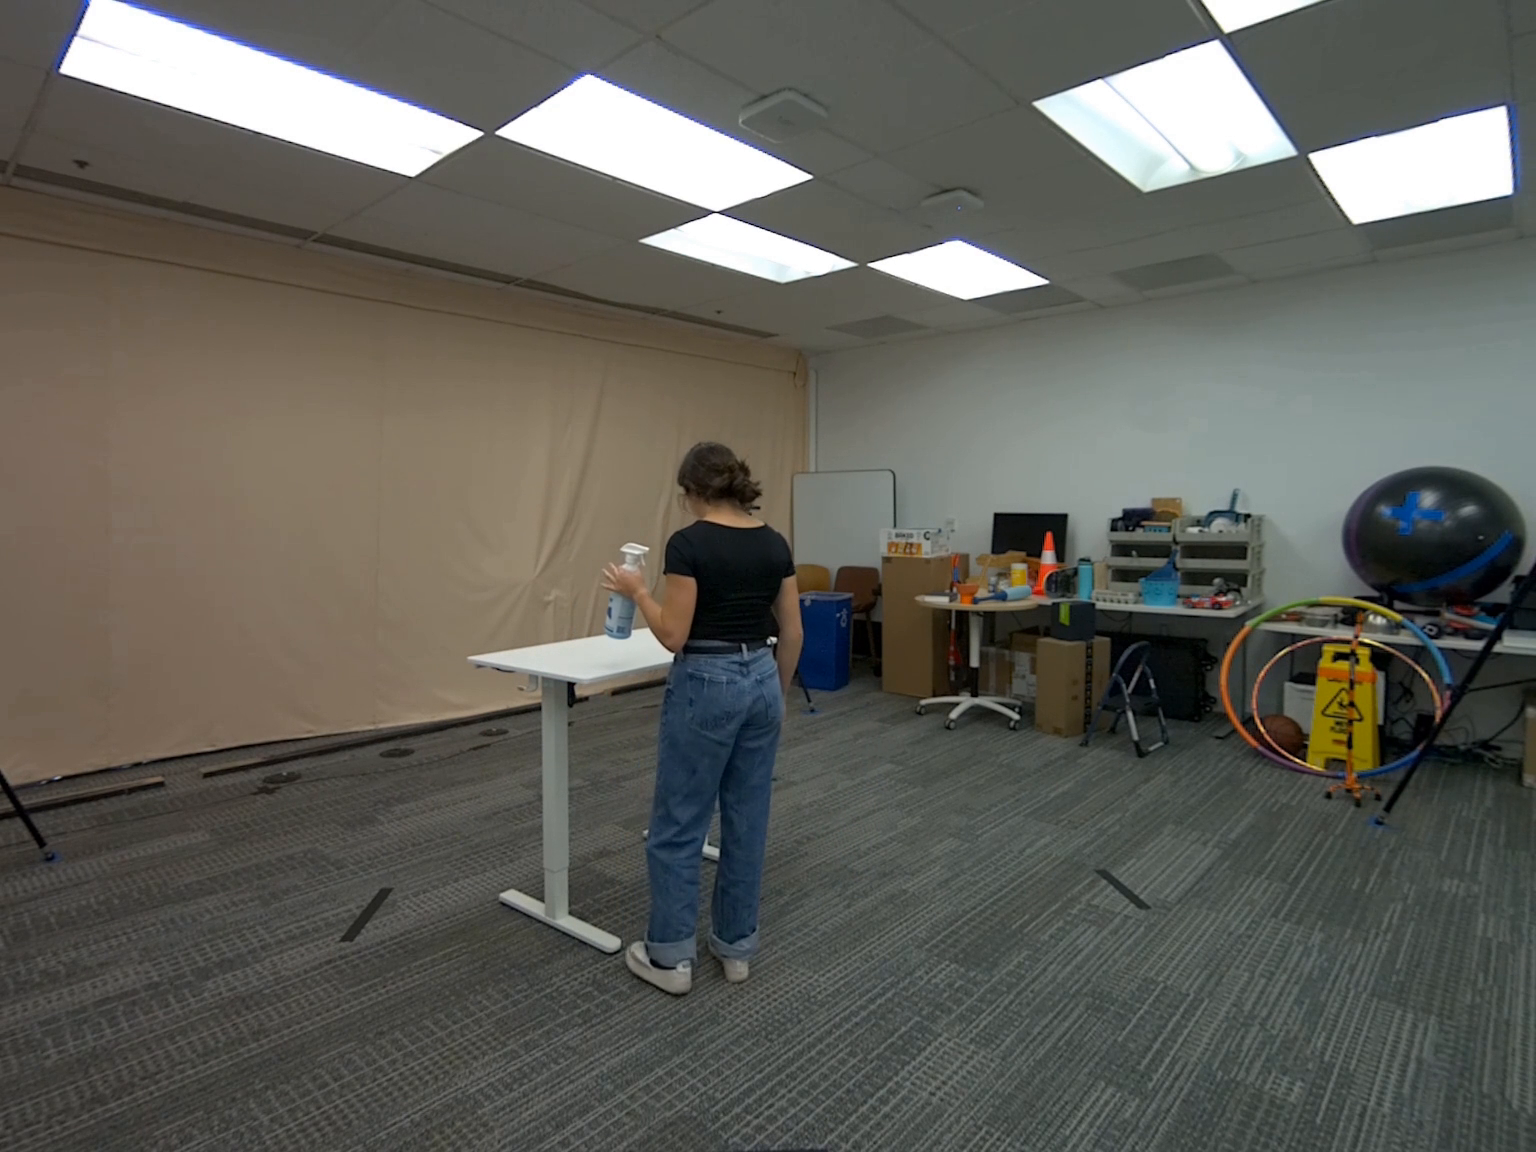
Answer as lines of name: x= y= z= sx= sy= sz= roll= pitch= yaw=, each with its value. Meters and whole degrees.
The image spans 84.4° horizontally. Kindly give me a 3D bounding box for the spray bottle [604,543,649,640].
spray bottle: x=-0.440 y=0.046 z=2.558 sx=0.093 sy=0.296 sz=0.084 roll=27 pitch=19 yaw=39
